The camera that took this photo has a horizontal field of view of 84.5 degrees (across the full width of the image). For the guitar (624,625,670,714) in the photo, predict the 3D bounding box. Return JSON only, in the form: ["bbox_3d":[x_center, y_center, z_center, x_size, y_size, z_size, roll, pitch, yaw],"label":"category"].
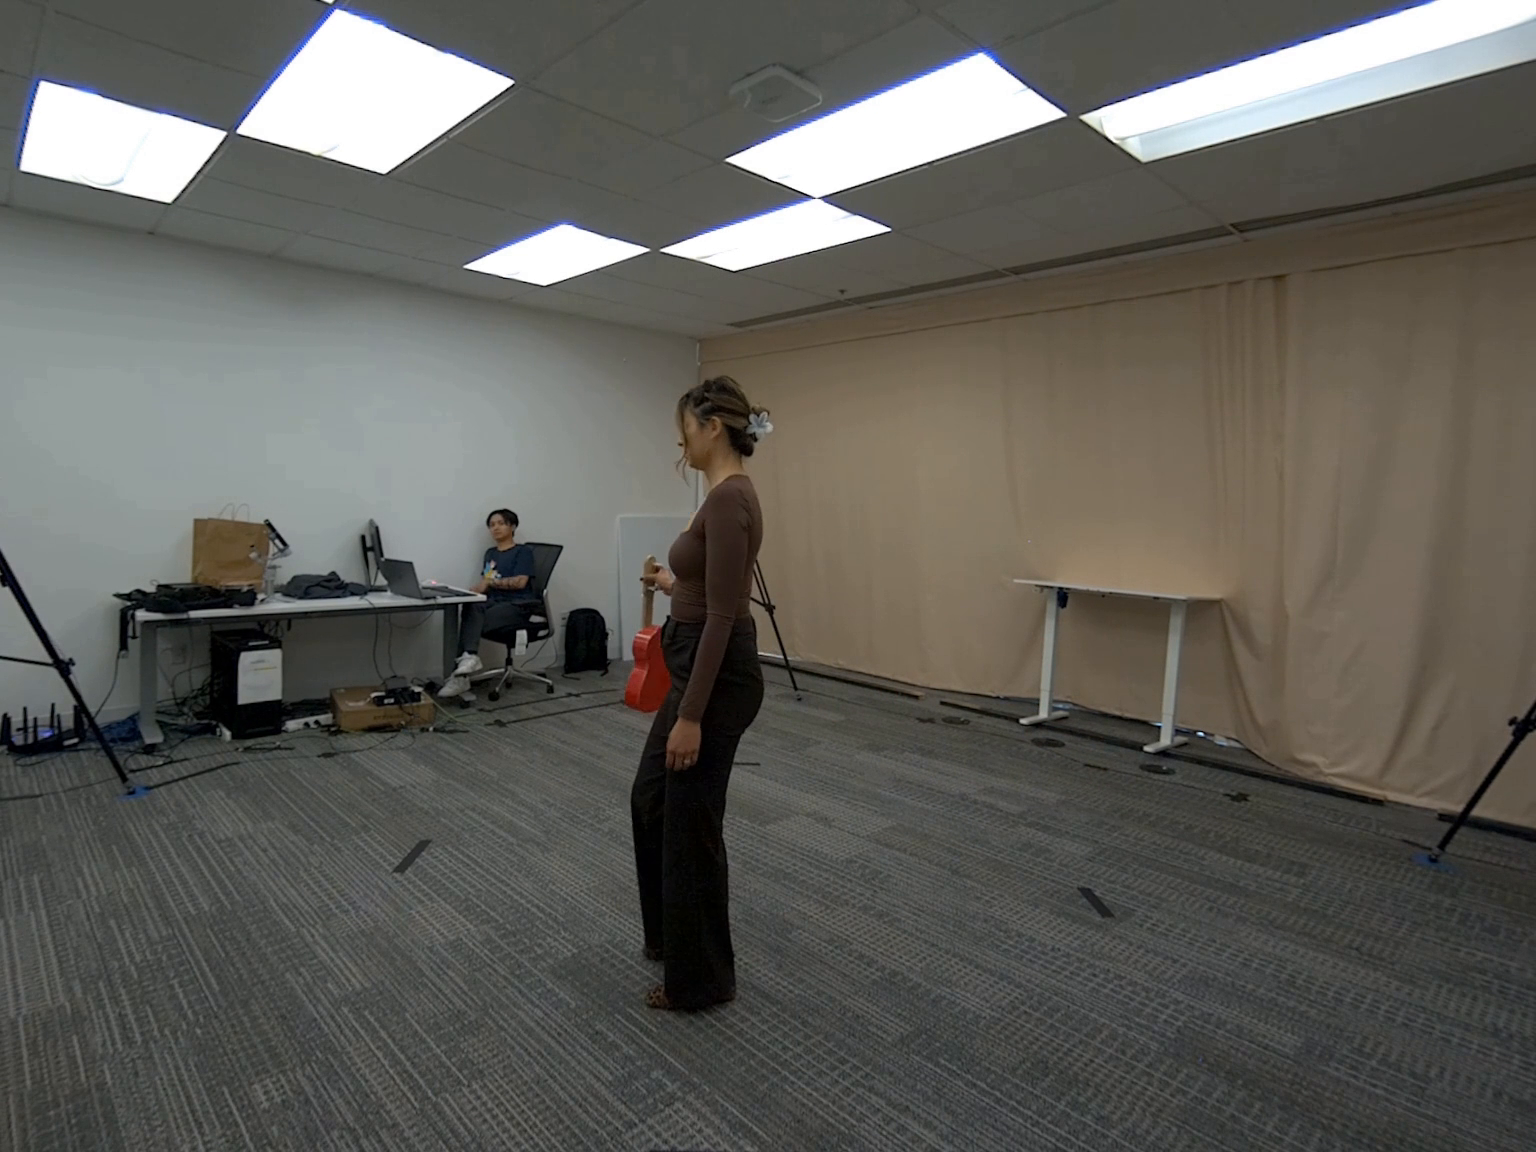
[{"bbox_3d":[-0.392,0.193,2.700,0.072,0.493,0.190,7,15,30],"label":"guitar"}]
